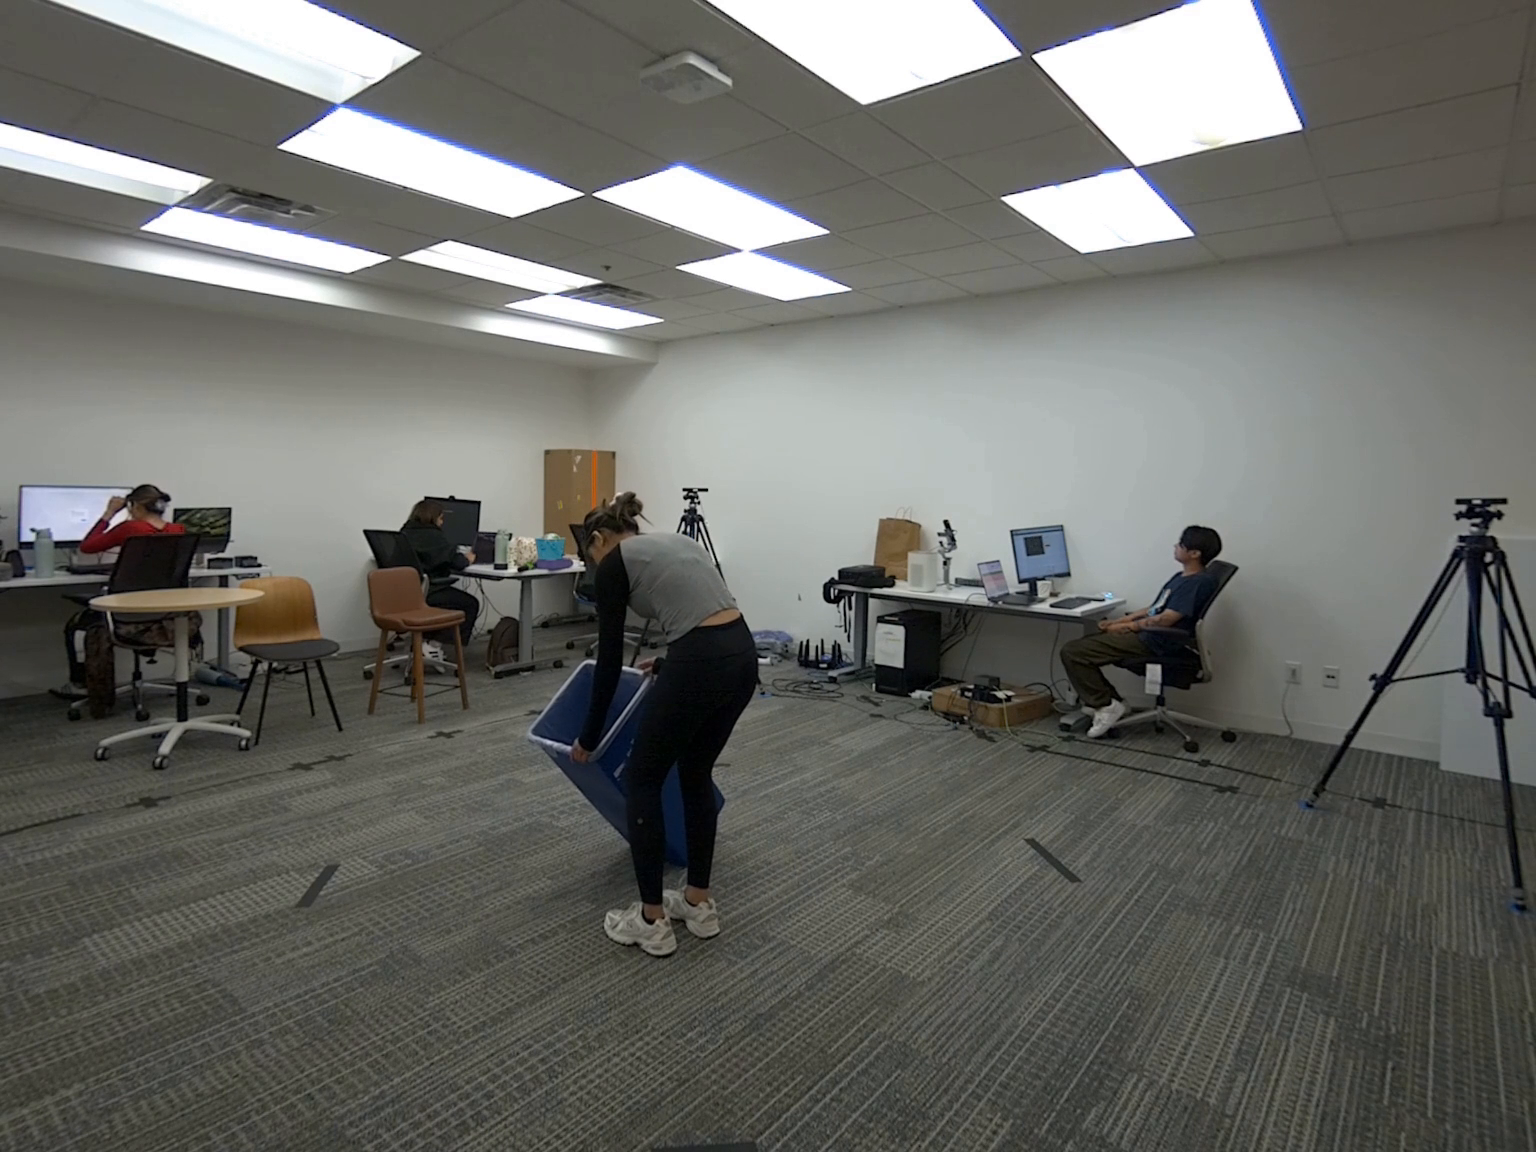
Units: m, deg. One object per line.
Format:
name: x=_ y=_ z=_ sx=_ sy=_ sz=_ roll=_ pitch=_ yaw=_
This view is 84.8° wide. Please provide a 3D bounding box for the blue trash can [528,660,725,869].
blue trash can: x=-0.494 y=0.694 z=3.098 sx=0.391 sy=0.688 sz=0.375 roll=4 pitch=45 yaw=39
